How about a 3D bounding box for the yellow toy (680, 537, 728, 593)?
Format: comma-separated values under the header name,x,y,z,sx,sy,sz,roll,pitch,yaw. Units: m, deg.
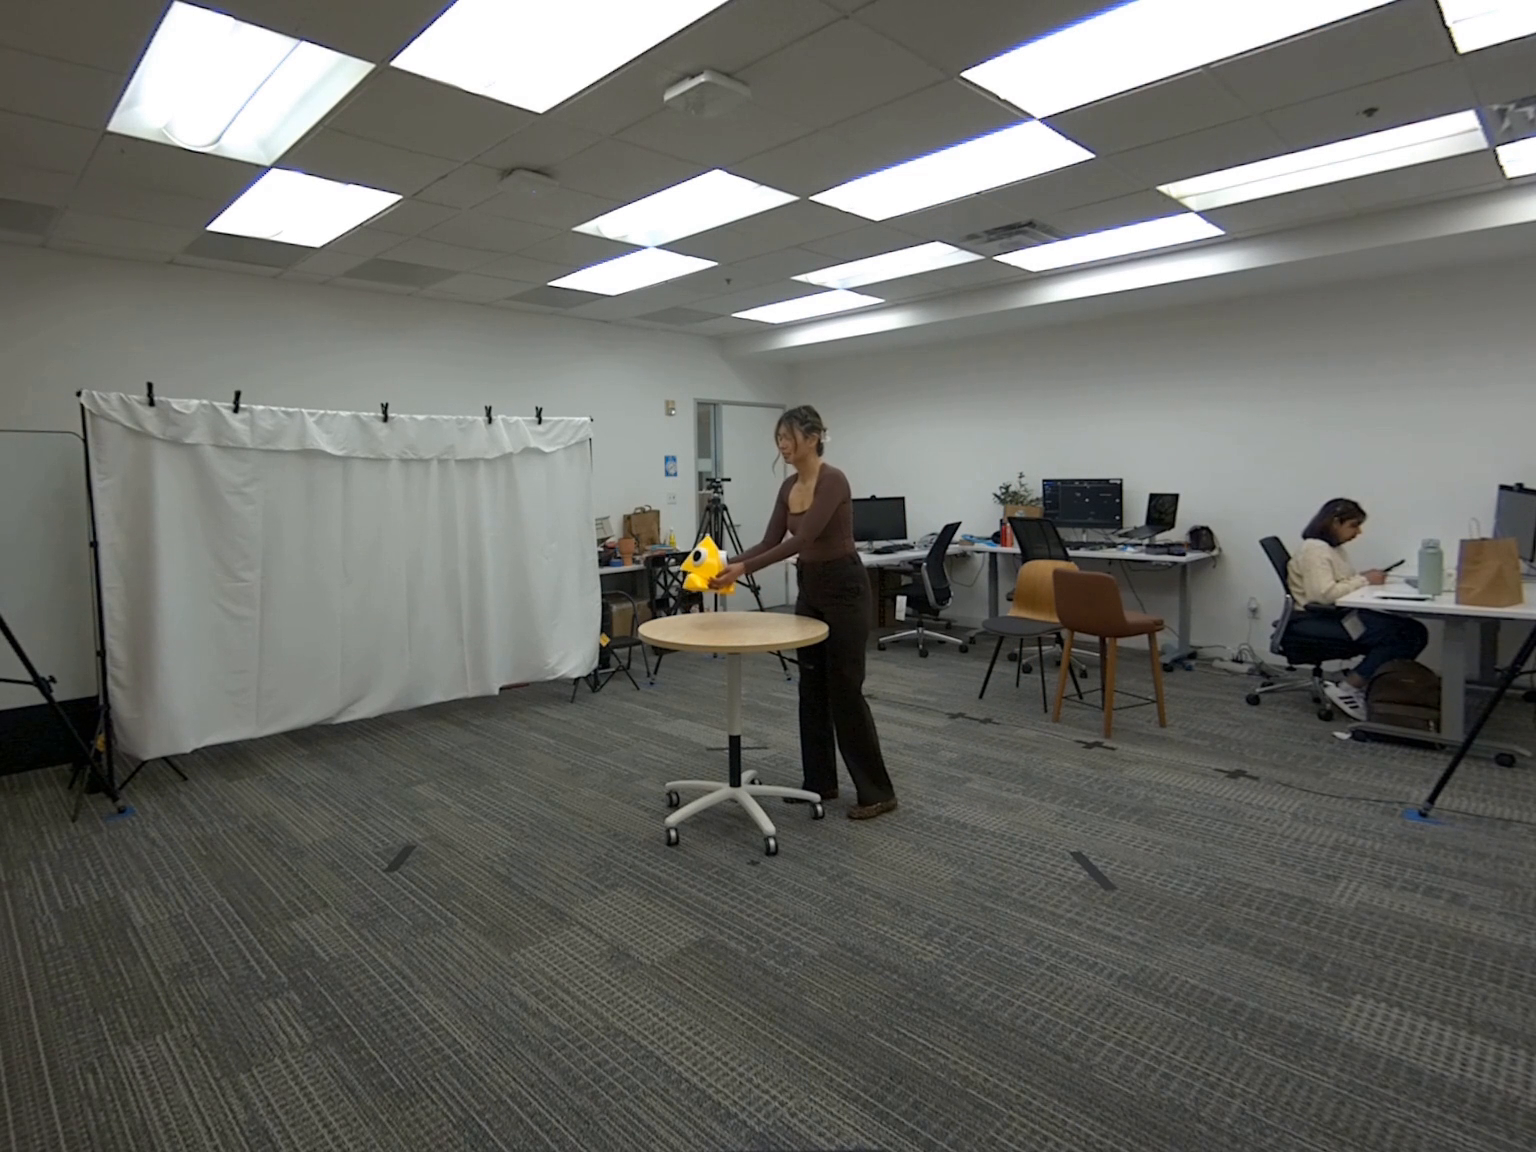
name,x,y,z,sx,sy,sz,roll,pitch,yaw
yellow toy,-0.227,-0.055,3.419,0.201,0.232,0.195,7,-9,-20
